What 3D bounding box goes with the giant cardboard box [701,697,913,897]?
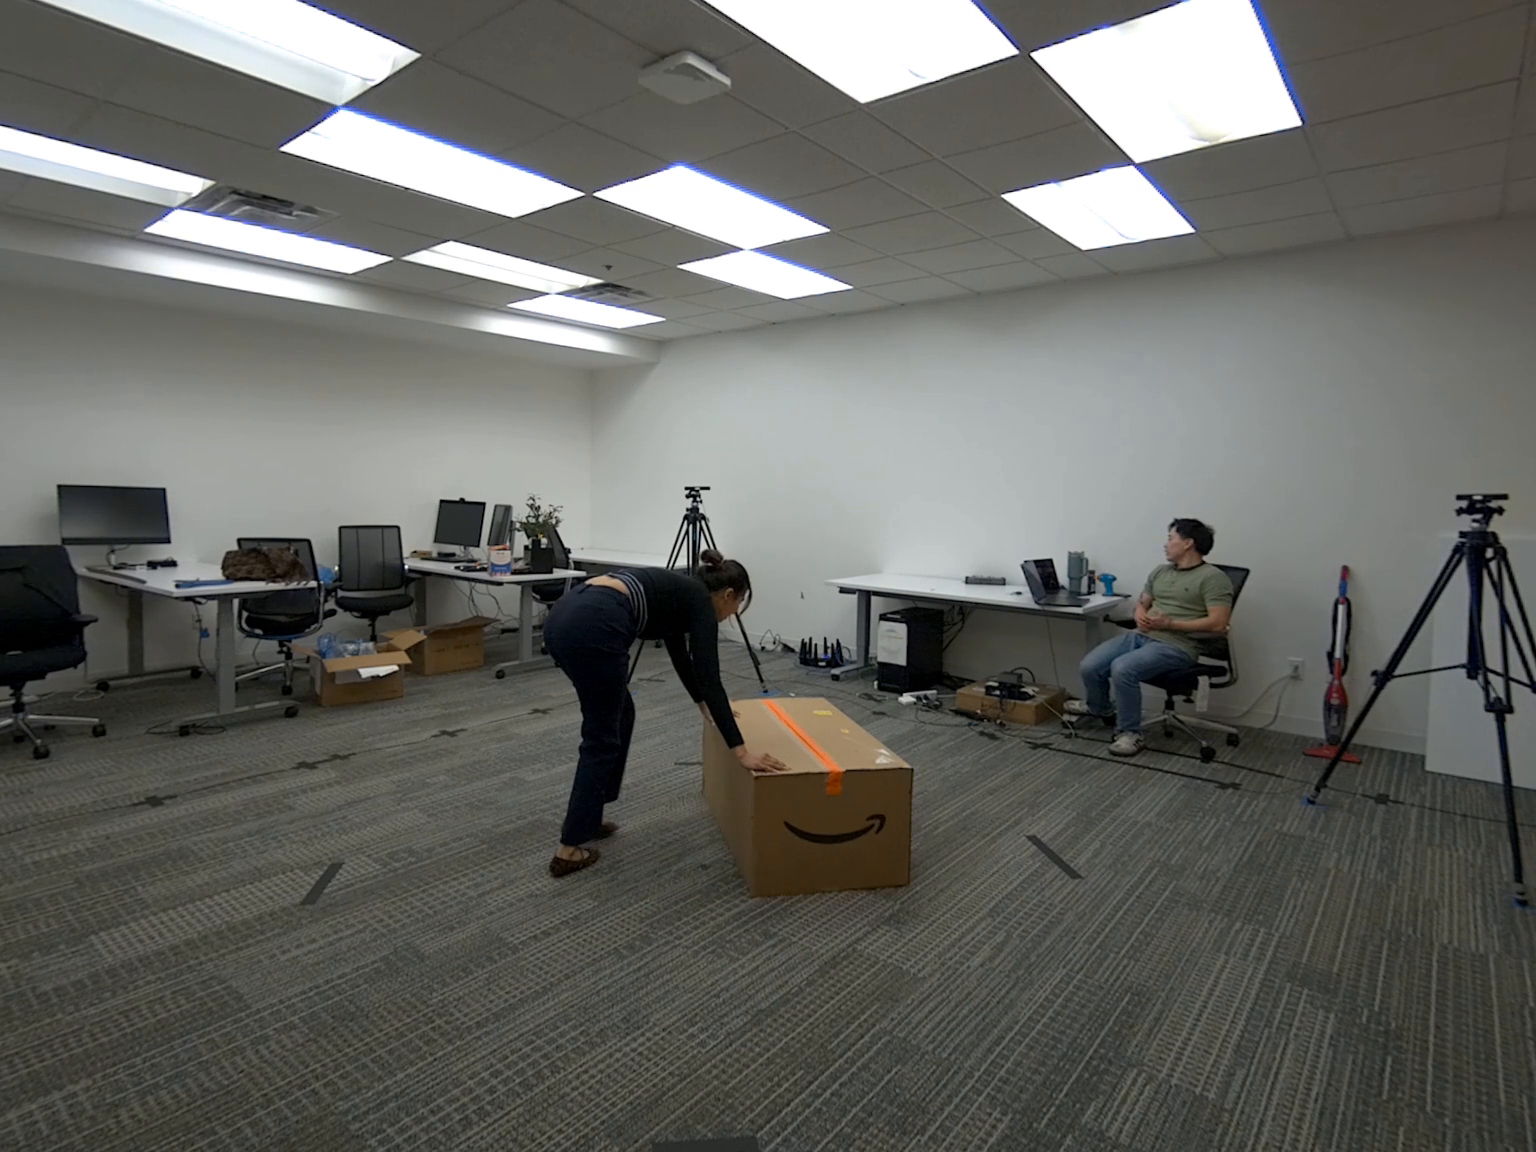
[{"bbox_3d":[0.101,0.822,3.427,0.570,0.424,1.043,-1,6,-13],"label":"giant cardboard box"}]
